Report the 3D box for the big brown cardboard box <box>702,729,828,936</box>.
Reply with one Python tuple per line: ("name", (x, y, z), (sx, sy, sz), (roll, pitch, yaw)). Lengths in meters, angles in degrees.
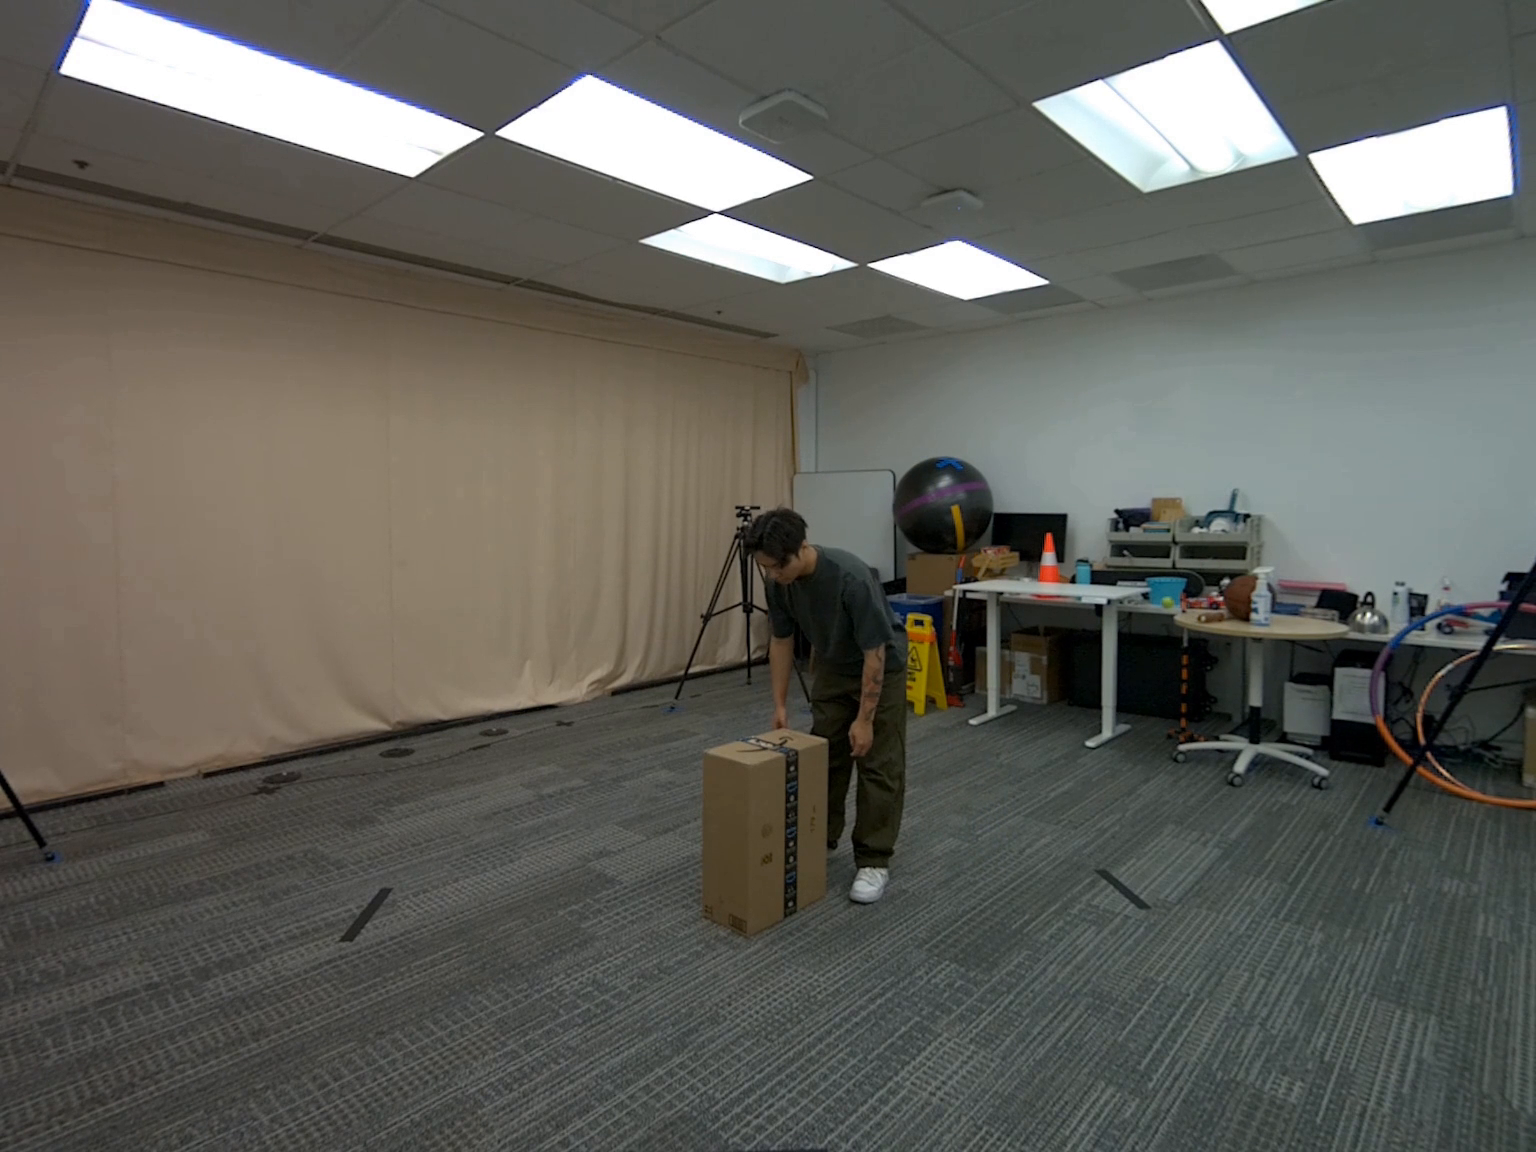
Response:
("big brown cardboard box", (-0.005, 0.861, 2.920), (0.241, 0.588, 0.404), (2, 2, 43))
